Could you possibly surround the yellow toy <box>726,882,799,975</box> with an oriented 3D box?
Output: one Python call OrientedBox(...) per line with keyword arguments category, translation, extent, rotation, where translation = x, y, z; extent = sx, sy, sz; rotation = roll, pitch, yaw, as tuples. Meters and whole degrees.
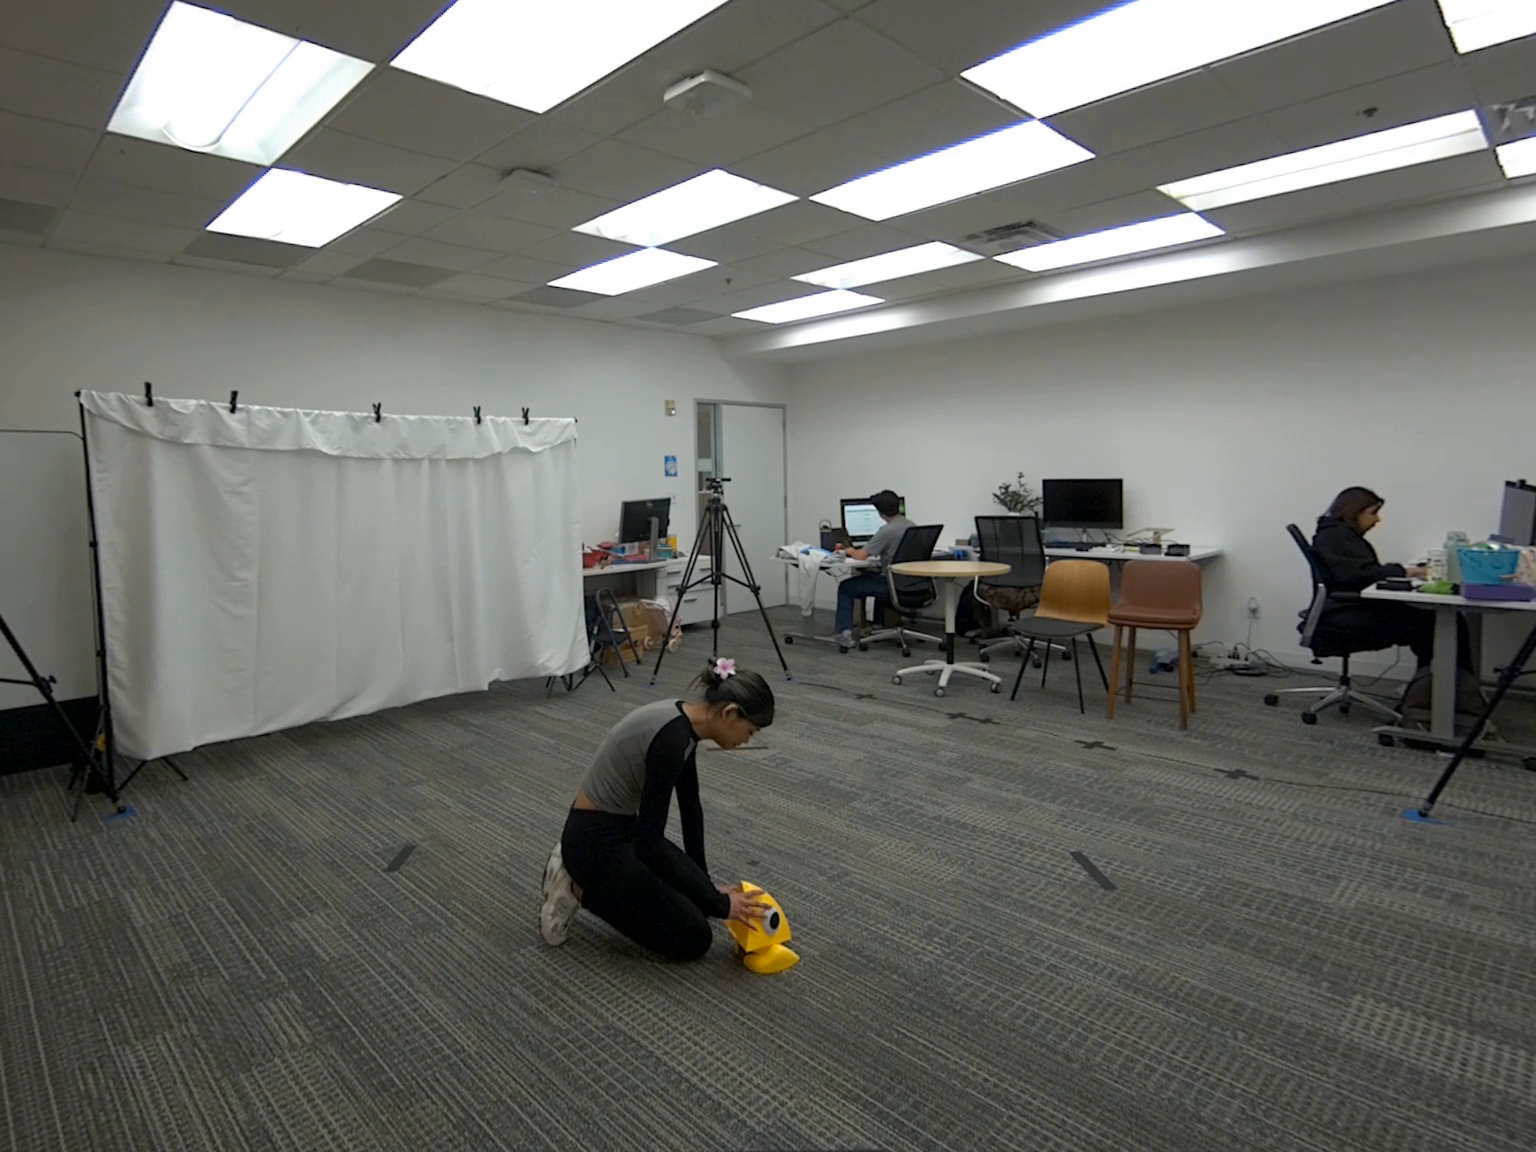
OrientedBox(category="yellow toy", translation=(-0.017, 0.994, 2.505), extent=(0.189, 0.230, 0.210), rotation=(-3, 6, -23))
